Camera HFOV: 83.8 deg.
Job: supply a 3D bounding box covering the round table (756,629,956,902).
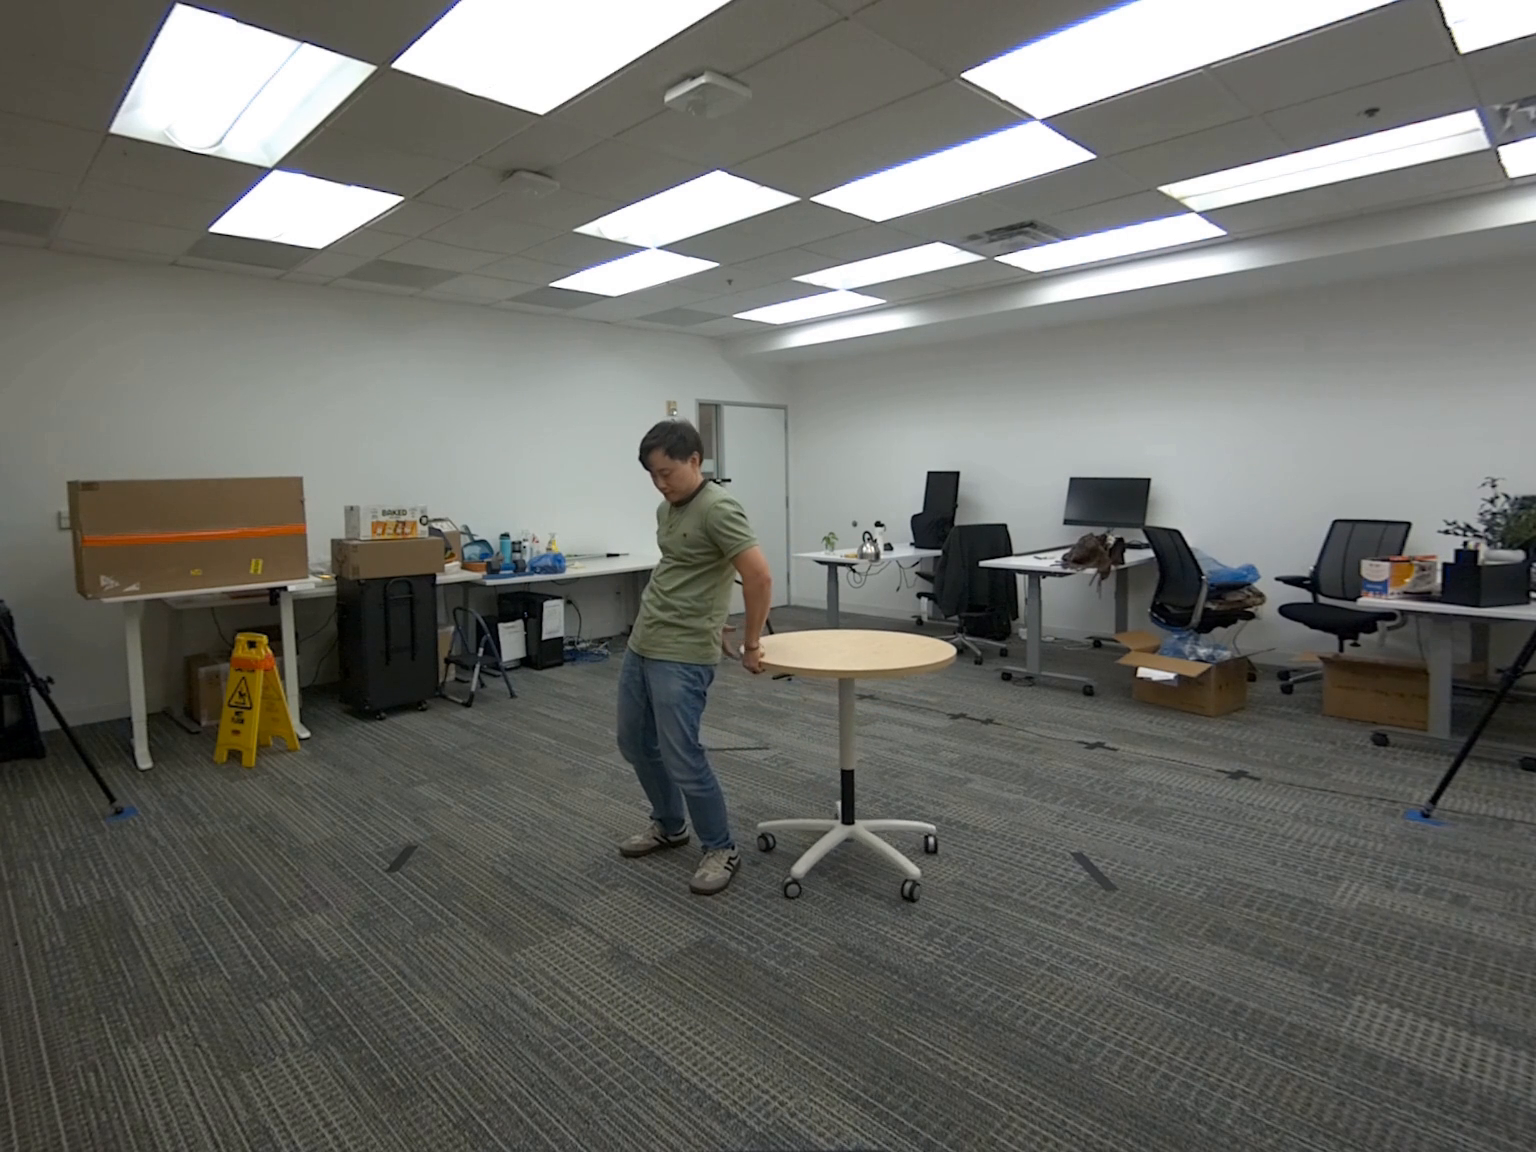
[{"bbox_3d":[0.280,0.649,3.087,0.763,0.791,0.767,-1,4,-2],"label":"round table"}]
